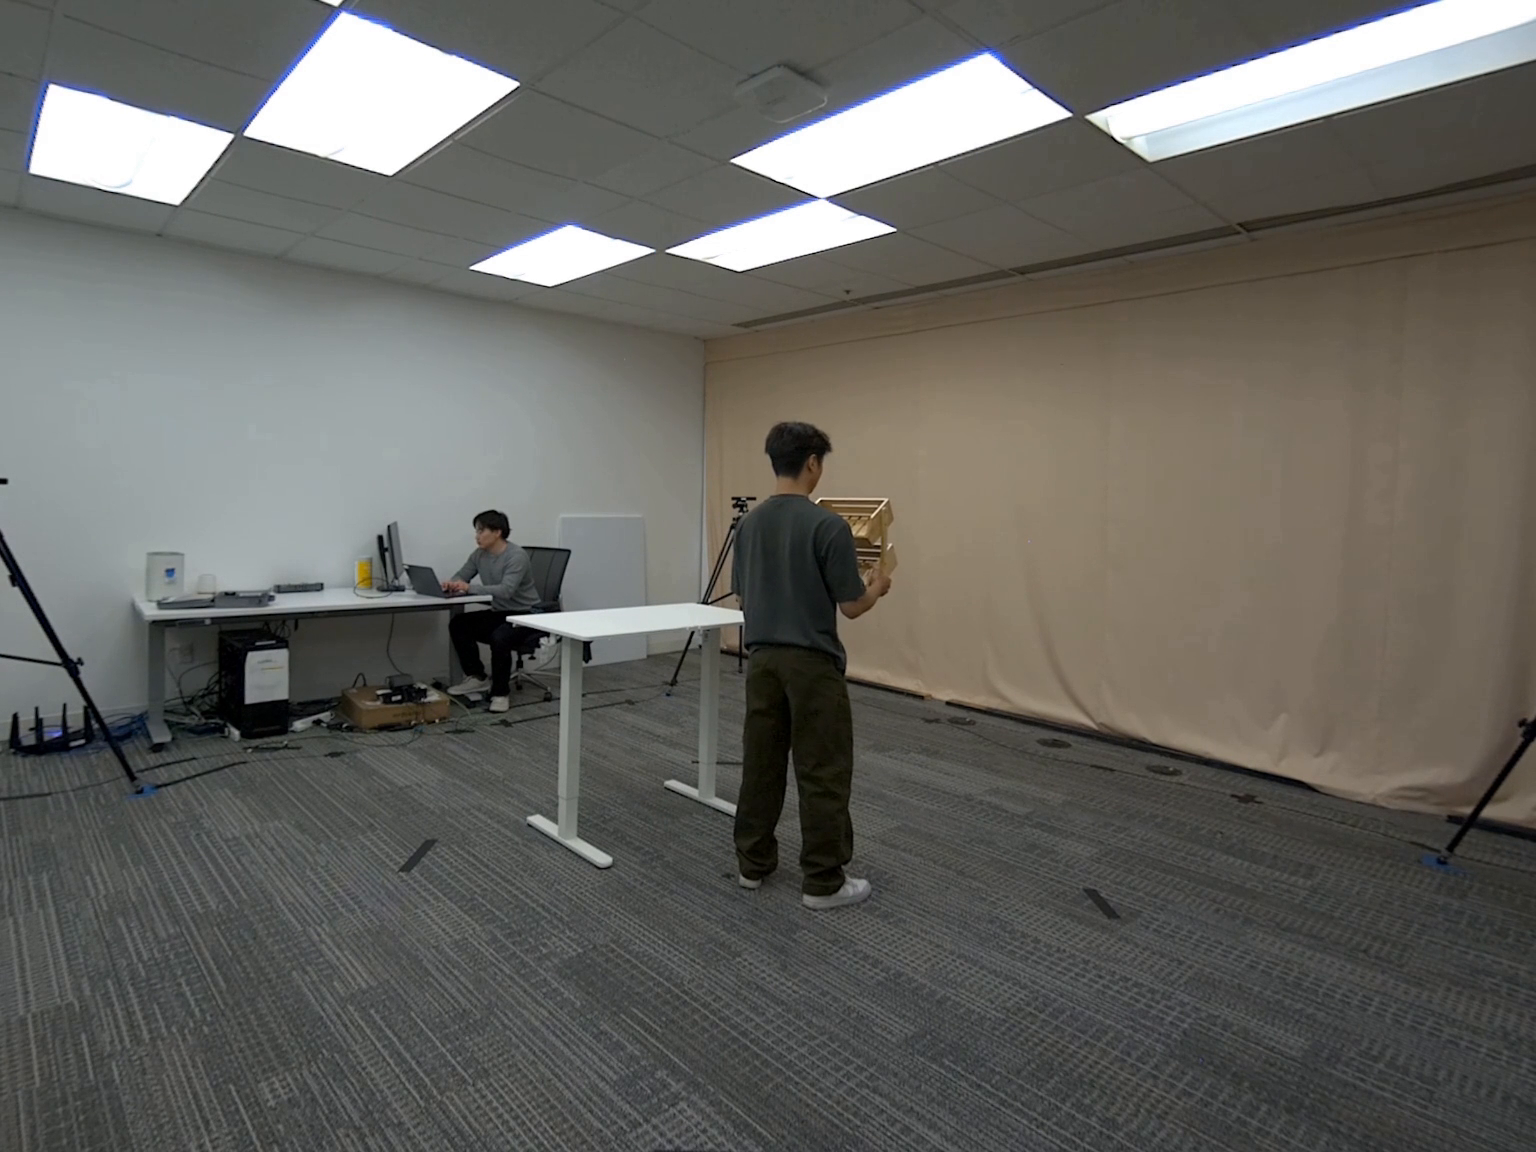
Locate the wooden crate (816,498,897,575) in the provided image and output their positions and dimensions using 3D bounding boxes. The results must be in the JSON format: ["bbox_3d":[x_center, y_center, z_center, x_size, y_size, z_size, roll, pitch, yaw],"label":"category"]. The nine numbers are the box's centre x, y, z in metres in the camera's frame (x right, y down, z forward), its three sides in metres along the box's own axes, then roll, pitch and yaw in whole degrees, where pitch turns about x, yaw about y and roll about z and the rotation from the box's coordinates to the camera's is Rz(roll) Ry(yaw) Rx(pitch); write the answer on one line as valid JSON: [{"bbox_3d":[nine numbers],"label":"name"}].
[{"bbox_3d":[0.284,-0.108,3.172,0.332,0.267,0.301,3,34,36],"label":"wooden crate"}]
